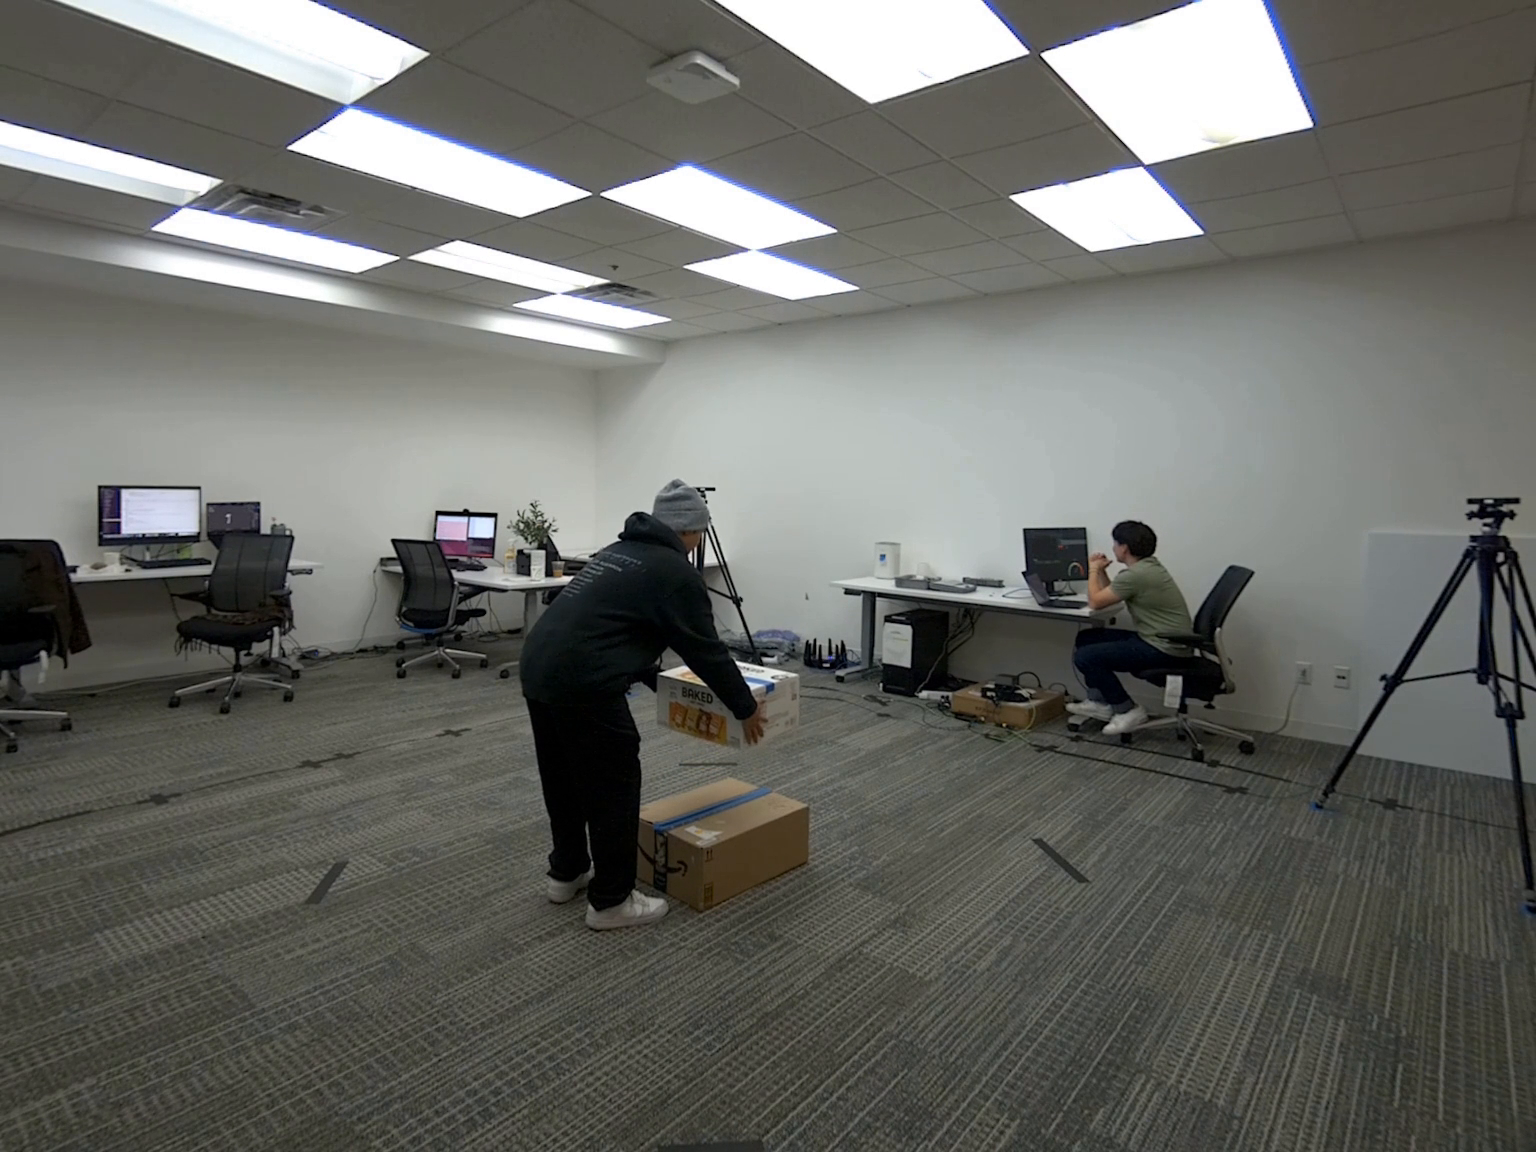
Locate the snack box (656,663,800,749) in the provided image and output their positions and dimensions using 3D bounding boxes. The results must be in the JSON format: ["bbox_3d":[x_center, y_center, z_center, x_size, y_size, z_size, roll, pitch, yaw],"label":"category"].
[{"bbox_3d":[-0.158,0.461,3.151,0.419,0.204,0.331,7,10,39],"label":"snack box"}]
